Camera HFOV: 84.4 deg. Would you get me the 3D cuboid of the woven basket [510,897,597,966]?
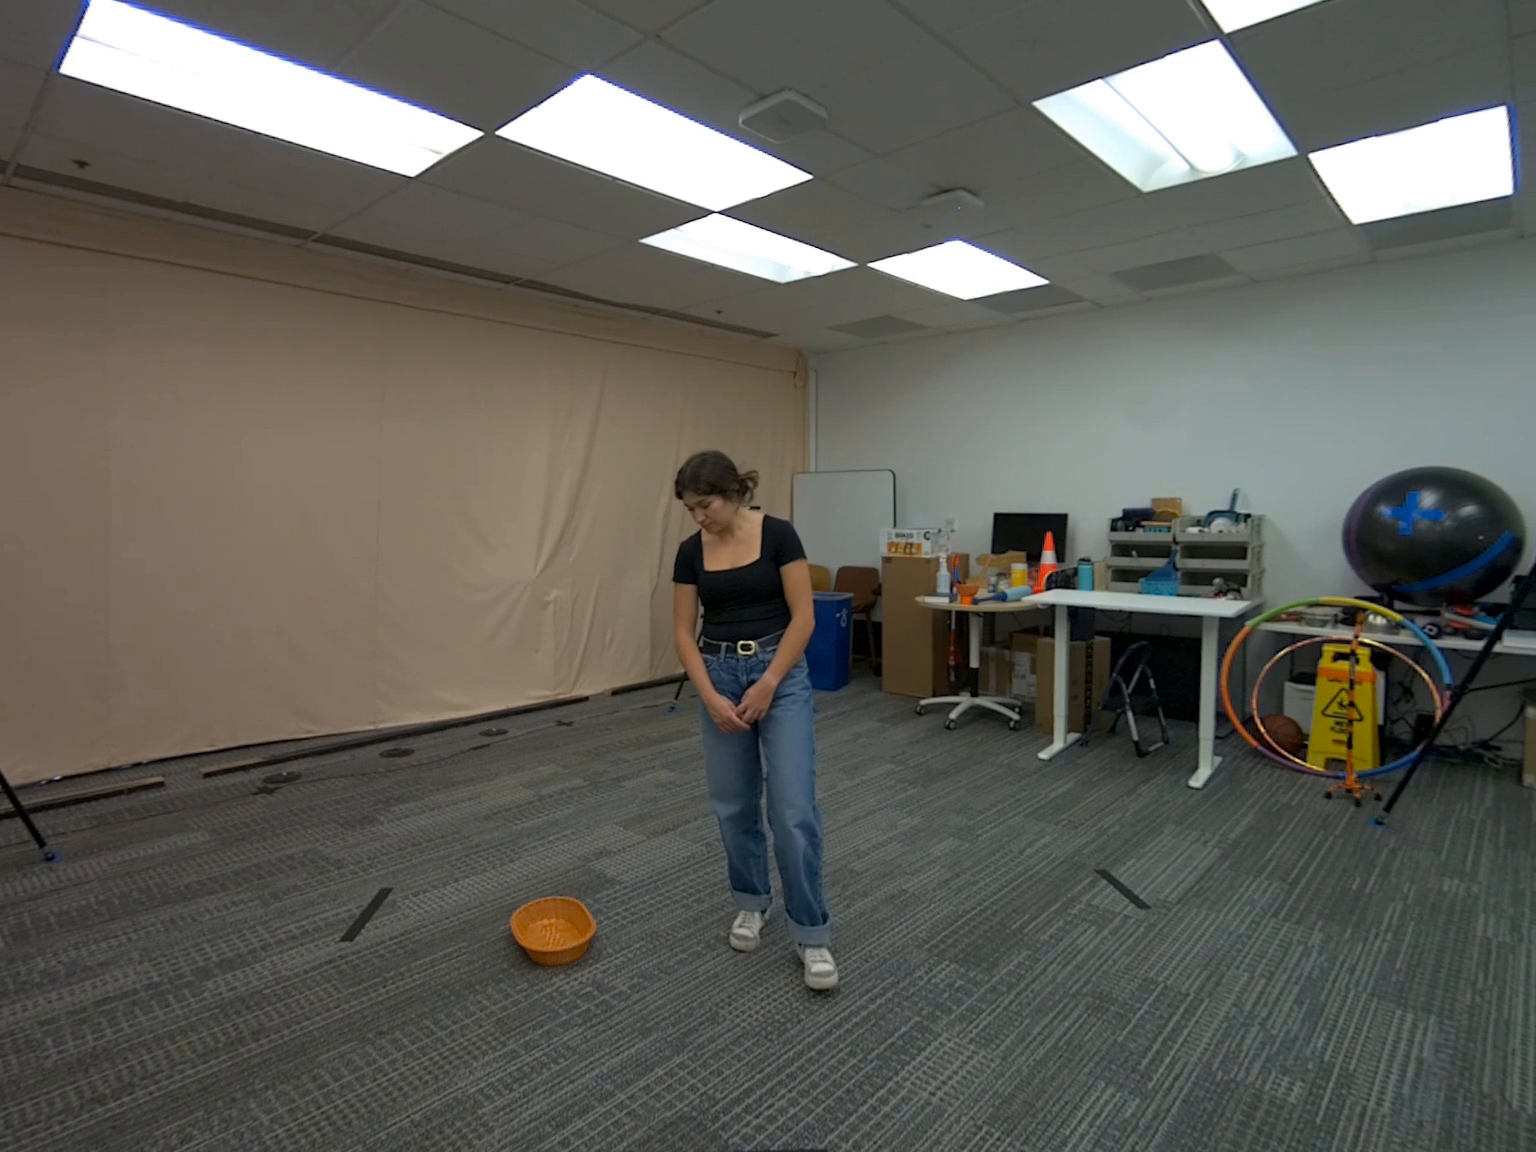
[{"bbox_3d":[-0.688,1.139,2.687,0.246,0.073,0.360,-4,6,-28],"label":"woven basket"}]
